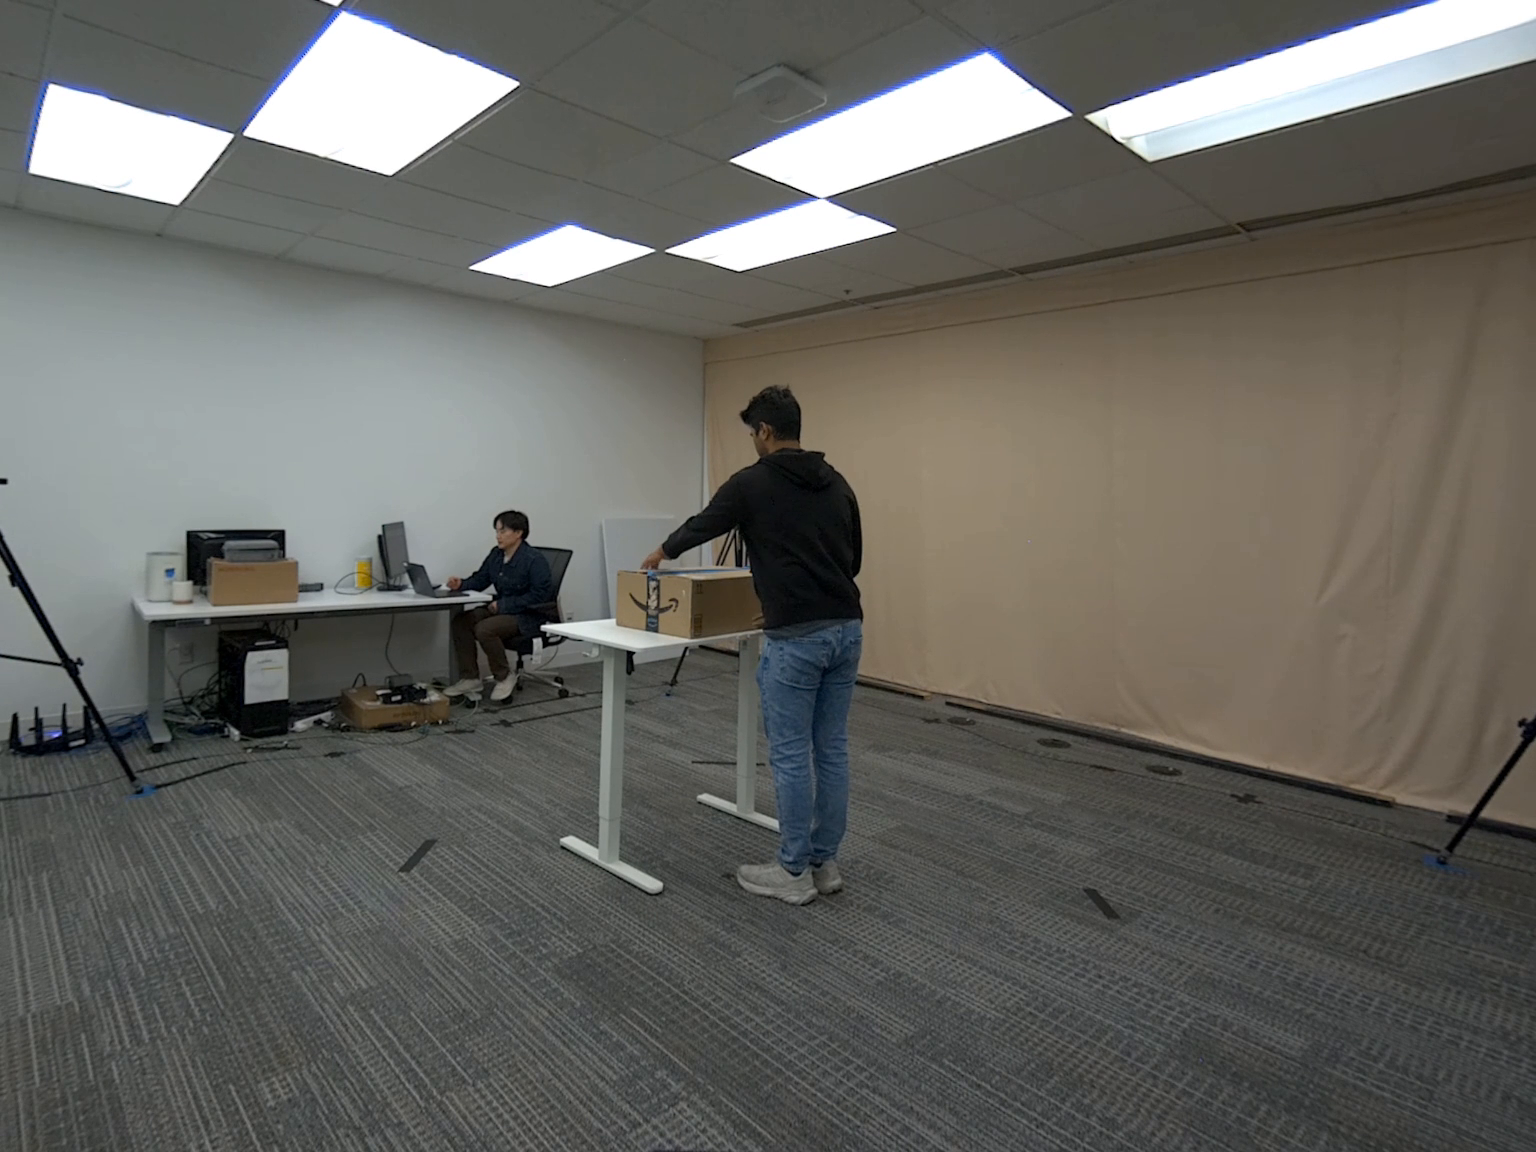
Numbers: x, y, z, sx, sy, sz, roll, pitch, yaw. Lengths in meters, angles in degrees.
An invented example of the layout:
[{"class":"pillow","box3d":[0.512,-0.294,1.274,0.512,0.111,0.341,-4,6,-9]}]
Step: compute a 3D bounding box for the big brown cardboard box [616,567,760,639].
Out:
[{"class":"big brown cardboard box","box3d":[-0.257,0.091,3.356,0.428,0.232,0.575,5,5,39]}]
